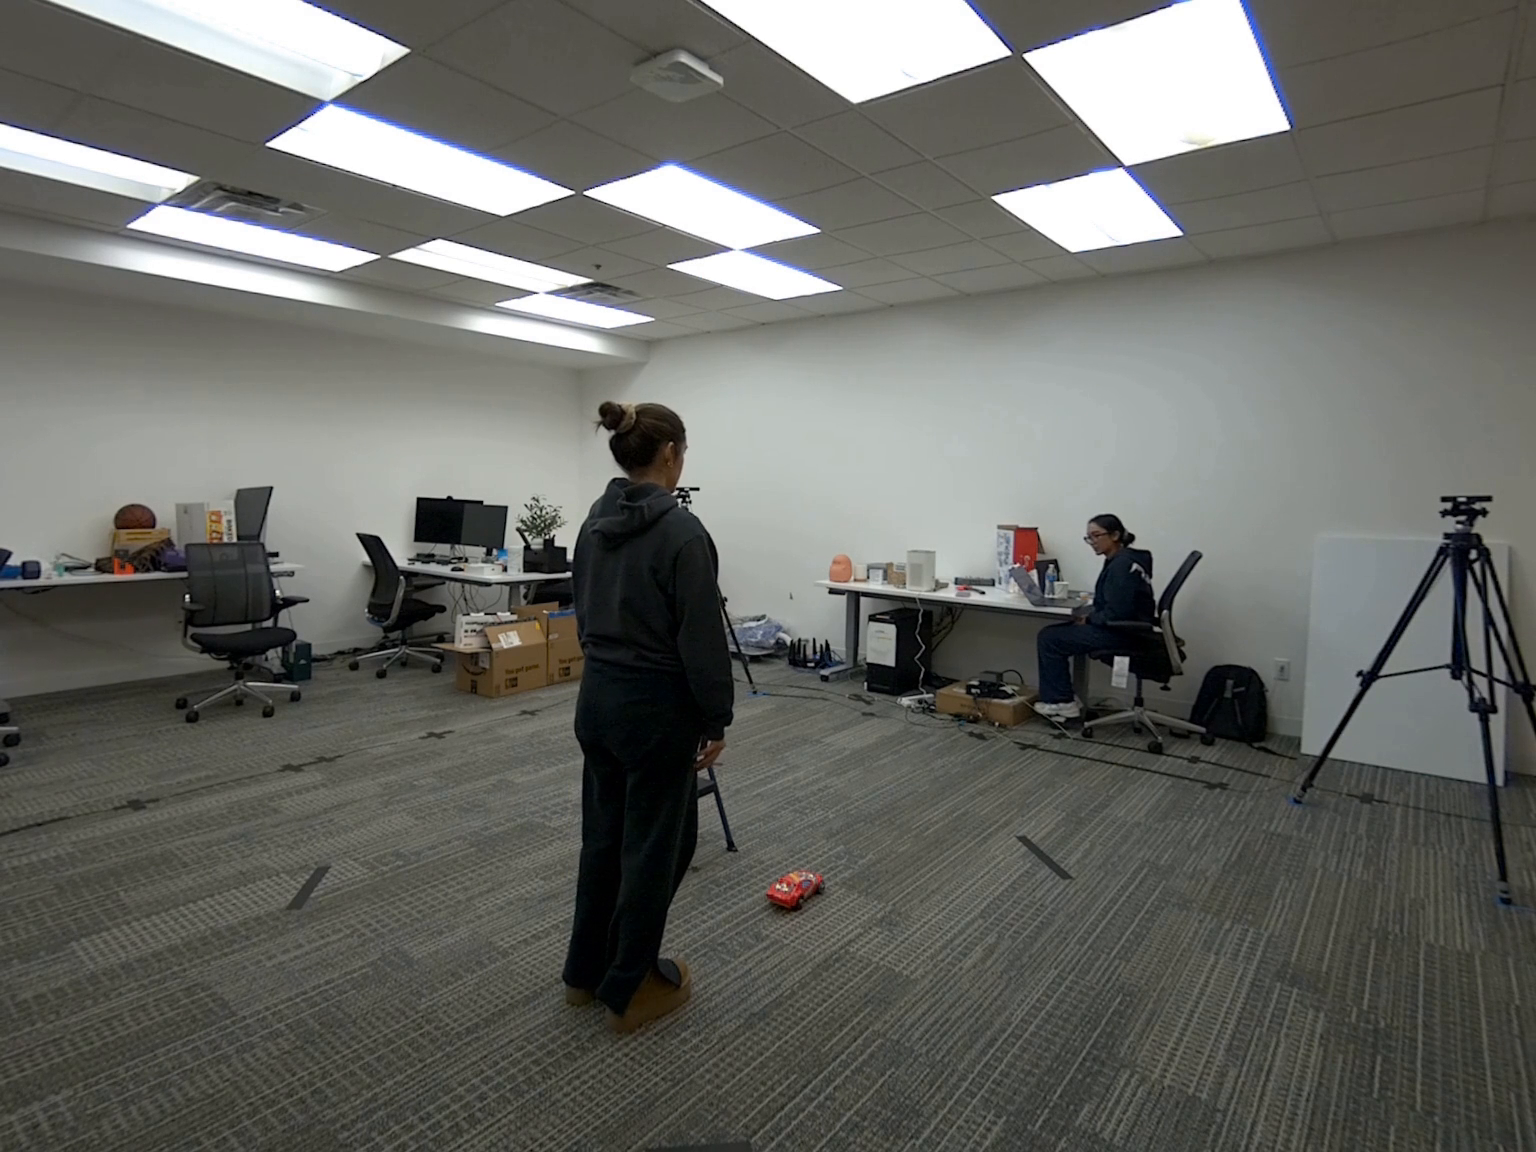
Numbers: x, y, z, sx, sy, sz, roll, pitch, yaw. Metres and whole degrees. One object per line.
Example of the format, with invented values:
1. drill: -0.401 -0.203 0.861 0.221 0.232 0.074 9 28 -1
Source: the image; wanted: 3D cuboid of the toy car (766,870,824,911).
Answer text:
1. toy car: 0.092 1.064 2.888 0.134 0.083 0.245 5 -4 35
